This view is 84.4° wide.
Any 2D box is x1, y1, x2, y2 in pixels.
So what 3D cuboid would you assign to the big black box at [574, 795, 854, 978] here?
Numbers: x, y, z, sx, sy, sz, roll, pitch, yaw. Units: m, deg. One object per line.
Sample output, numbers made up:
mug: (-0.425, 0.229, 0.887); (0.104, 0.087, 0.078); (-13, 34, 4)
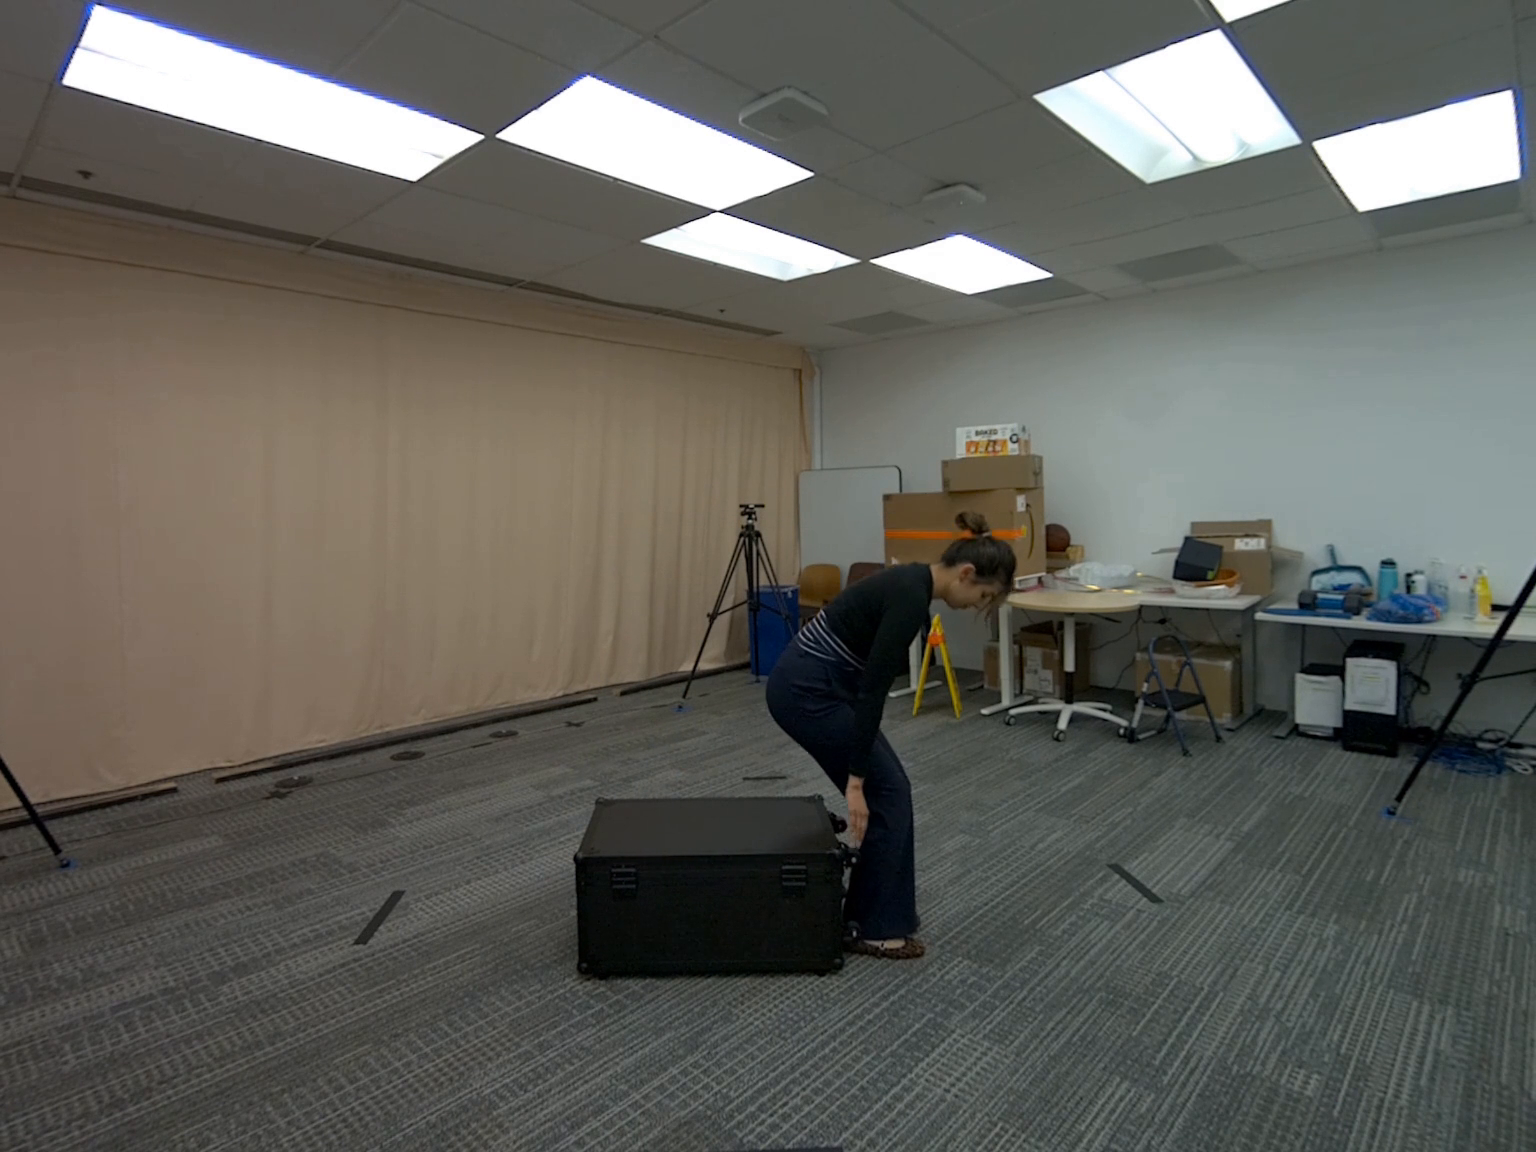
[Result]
big black box: (-0.155, 0.974, 2.698); (0.861, 0.395, 0.523); (-1, 4, -1)
